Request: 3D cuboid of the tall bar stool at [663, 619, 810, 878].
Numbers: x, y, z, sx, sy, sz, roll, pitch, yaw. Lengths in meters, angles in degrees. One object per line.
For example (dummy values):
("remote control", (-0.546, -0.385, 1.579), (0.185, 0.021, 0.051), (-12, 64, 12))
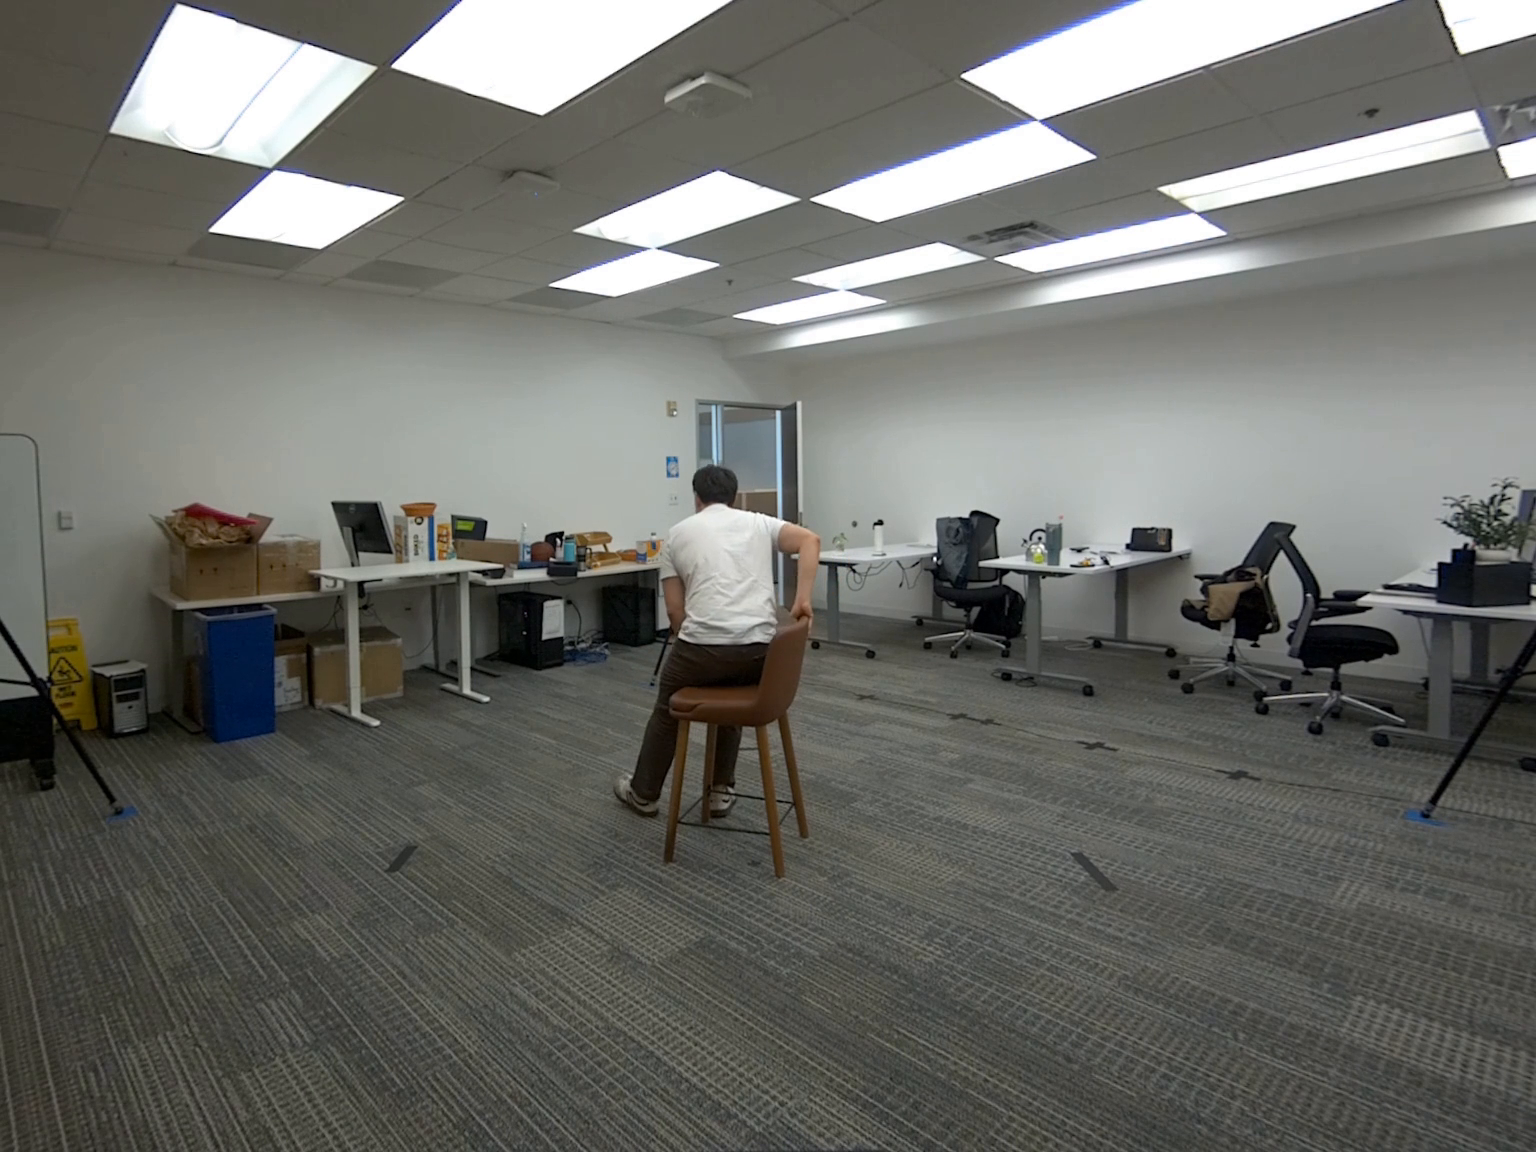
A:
("tall bar stool", (-0.107, 0.604, 3.208), (0.477, 0.887, 0.449), (2, 4, 20))
